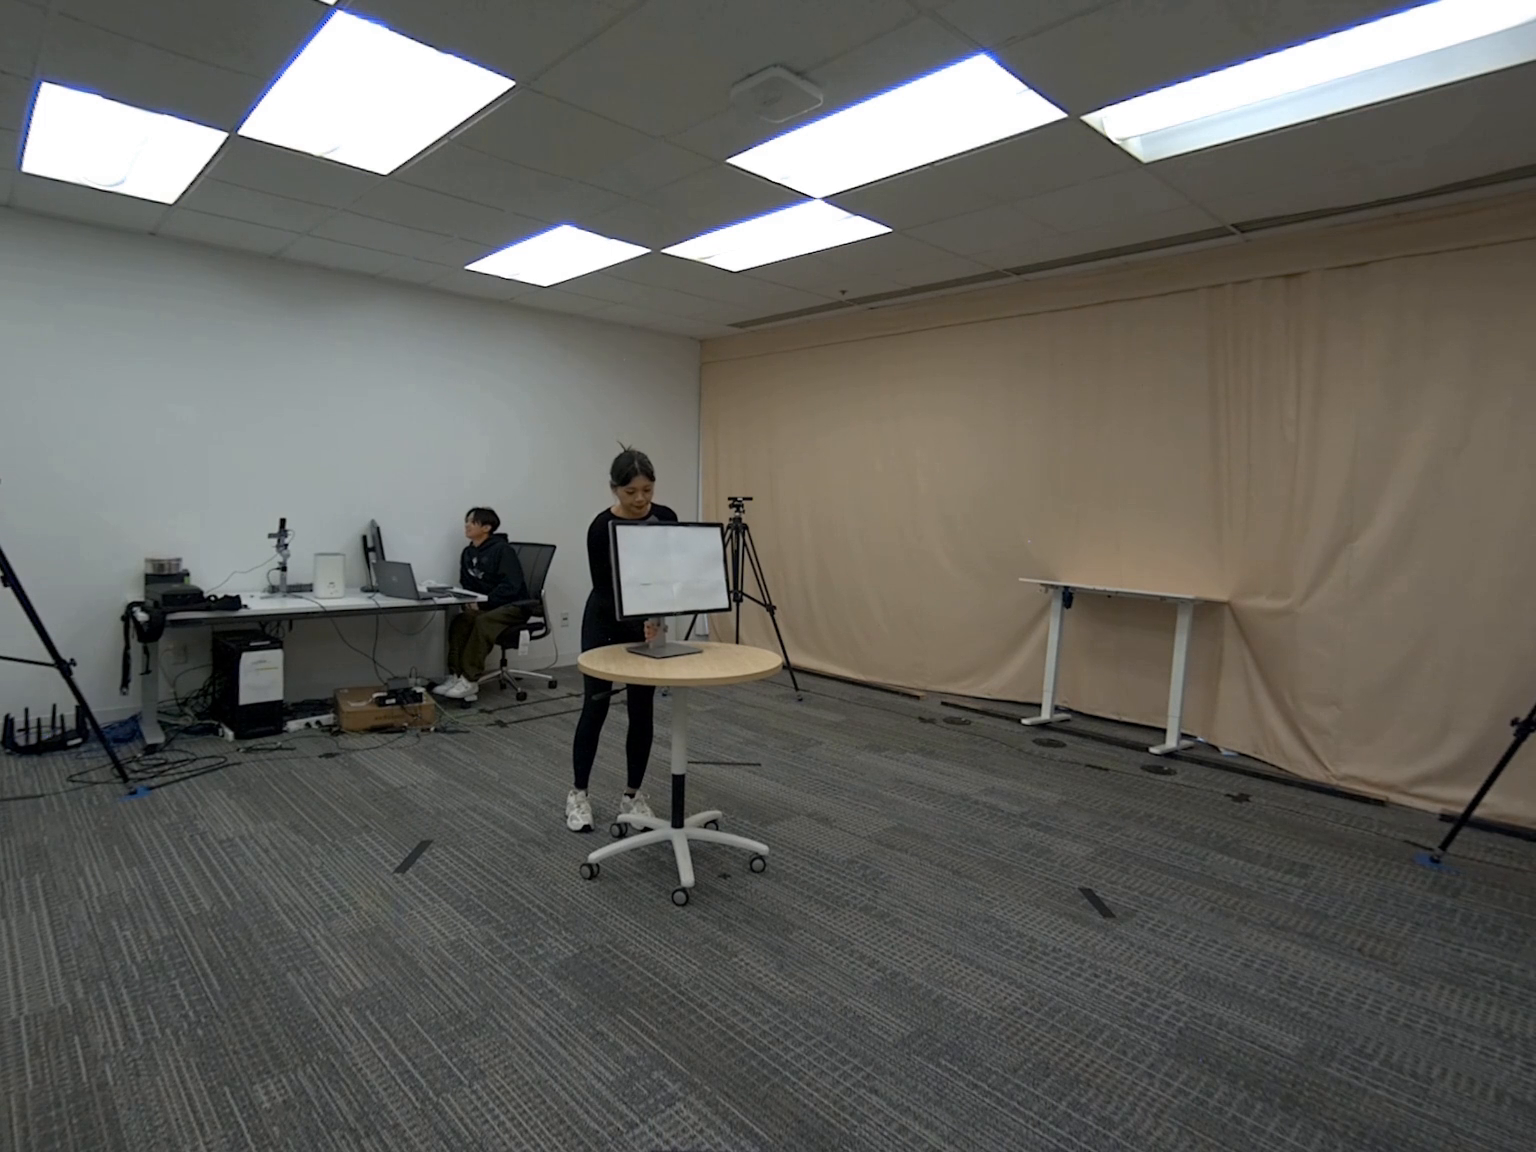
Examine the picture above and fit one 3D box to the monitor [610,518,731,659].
[{"bbox_3d":[-0.405,0.051,3.267,0.192,0.521,0.526,8,7,43],"label":"monitor"}]
